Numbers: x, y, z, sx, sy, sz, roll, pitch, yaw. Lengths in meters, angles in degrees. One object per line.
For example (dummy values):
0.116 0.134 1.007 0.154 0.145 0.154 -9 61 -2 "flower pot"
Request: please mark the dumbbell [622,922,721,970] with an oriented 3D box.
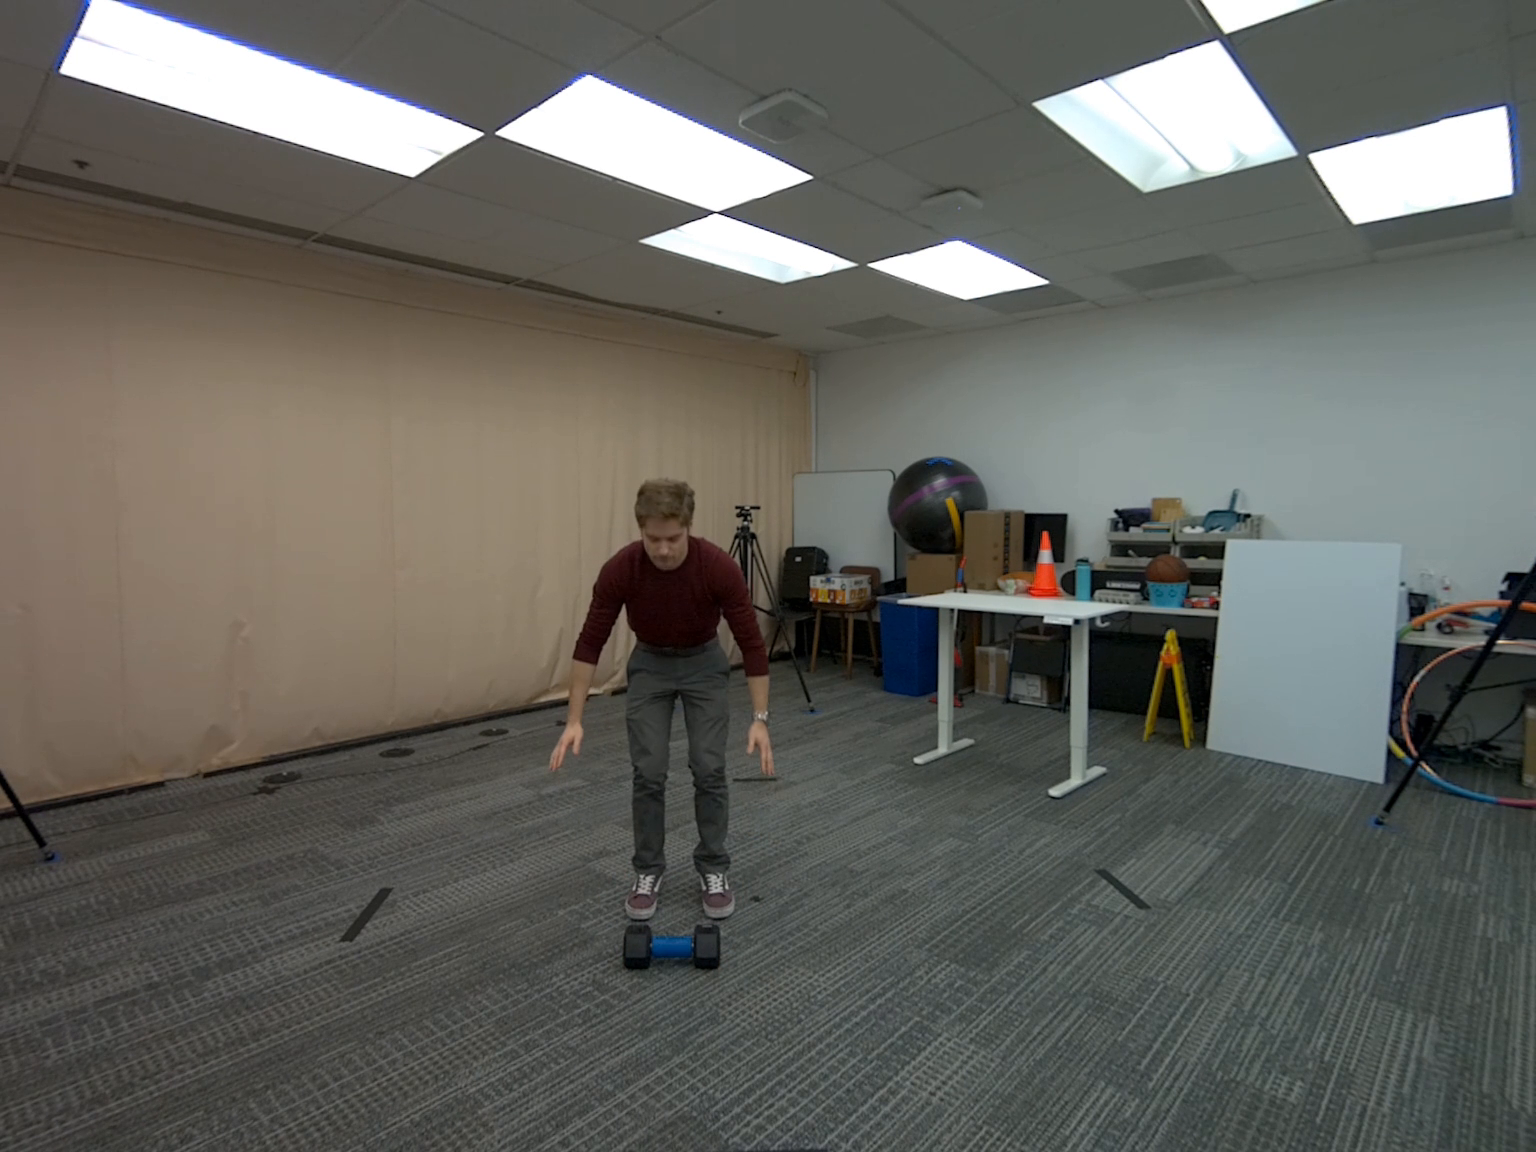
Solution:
-0.289 1.129 2.555 0.294 0.108 0.123 1 5 2 "dumbbell"
